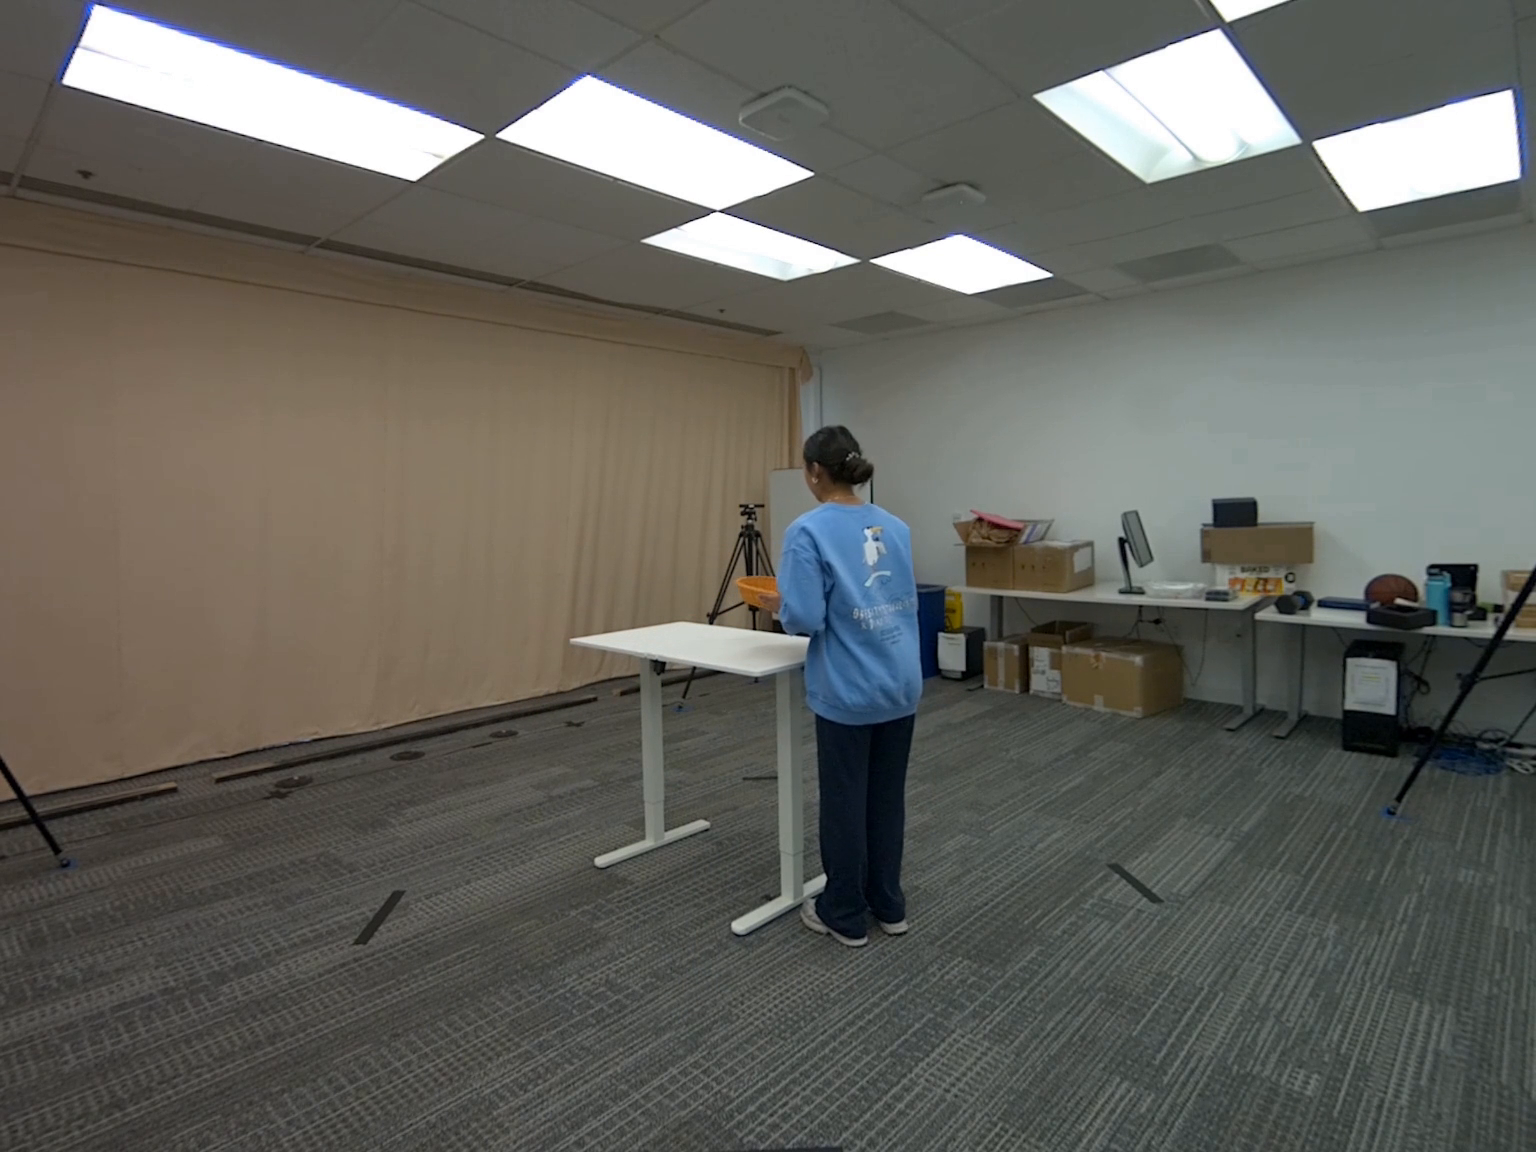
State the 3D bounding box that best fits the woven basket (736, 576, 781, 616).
[{"bbox_3d":[0.032,0.076,2.939,0.249,0.073,0.357,1,9,-14],"label":"woven basket"}]
